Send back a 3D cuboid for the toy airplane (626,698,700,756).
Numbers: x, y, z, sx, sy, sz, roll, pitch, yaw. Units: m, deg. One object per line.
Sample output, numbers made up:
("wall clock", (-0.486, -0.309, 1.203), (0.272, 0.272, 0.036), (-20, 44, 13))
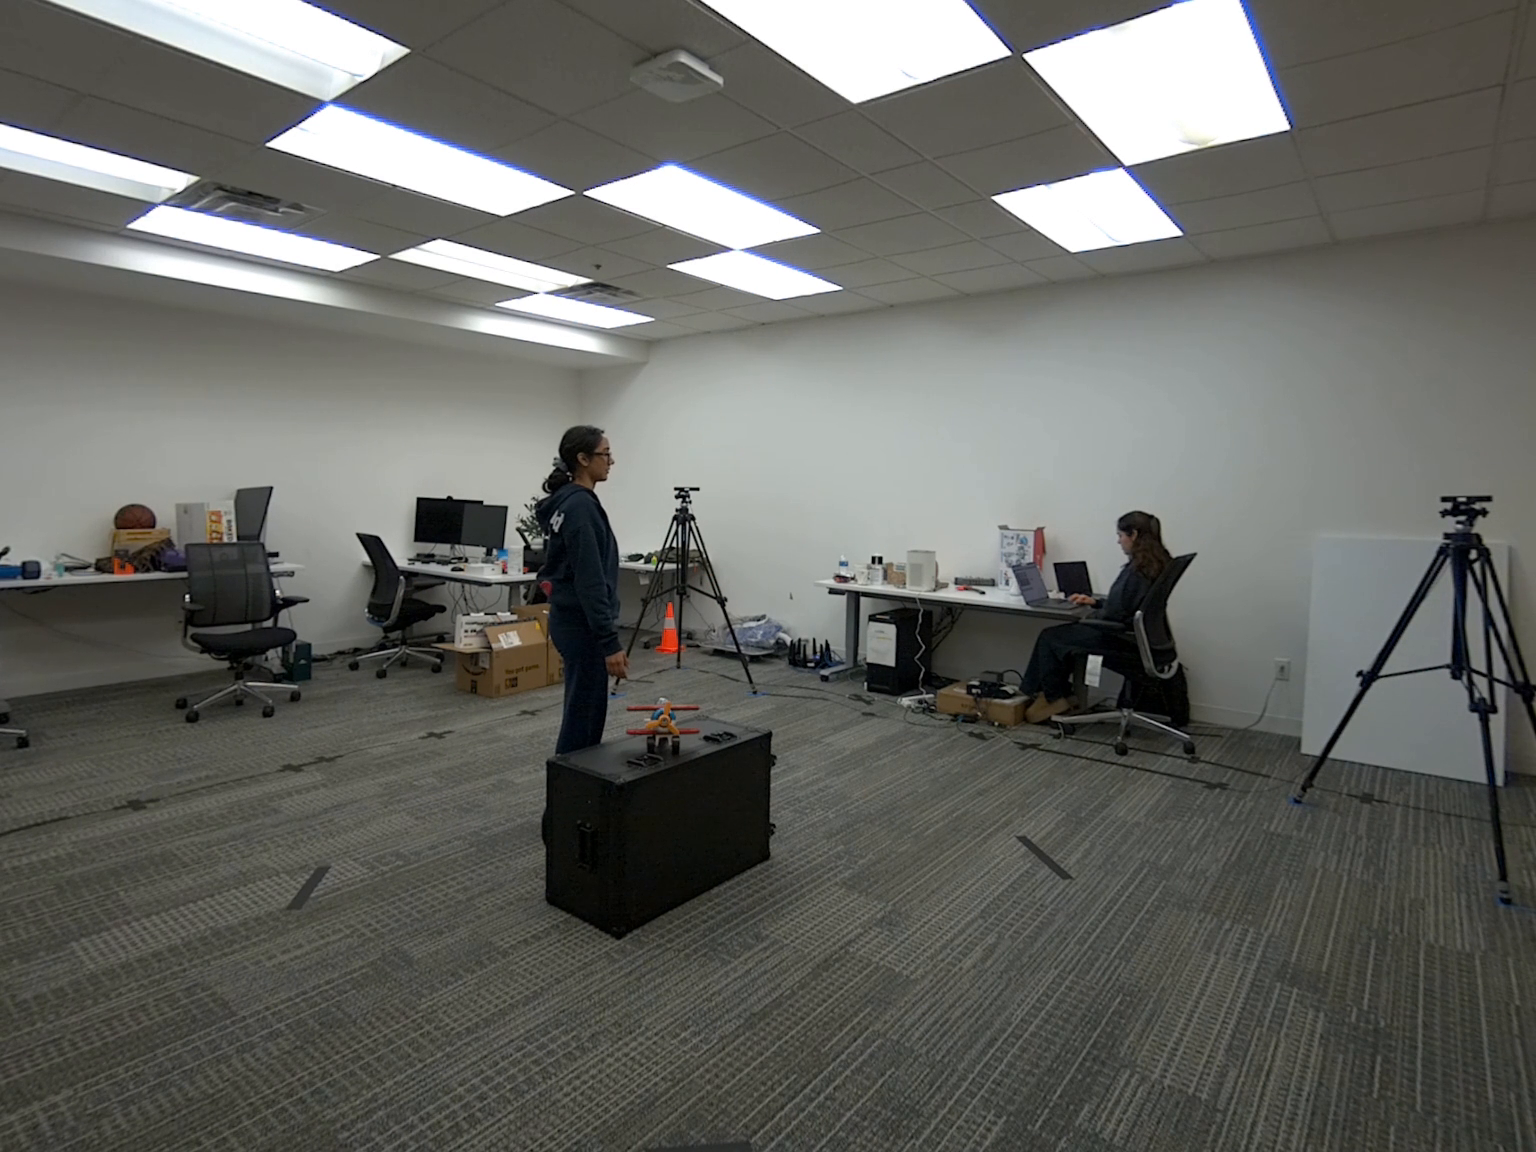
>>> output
("toy airplane", (-0.399, 0.513, 2.998), (0.244, 0.156, 0.268), (-2, 6, -35))
